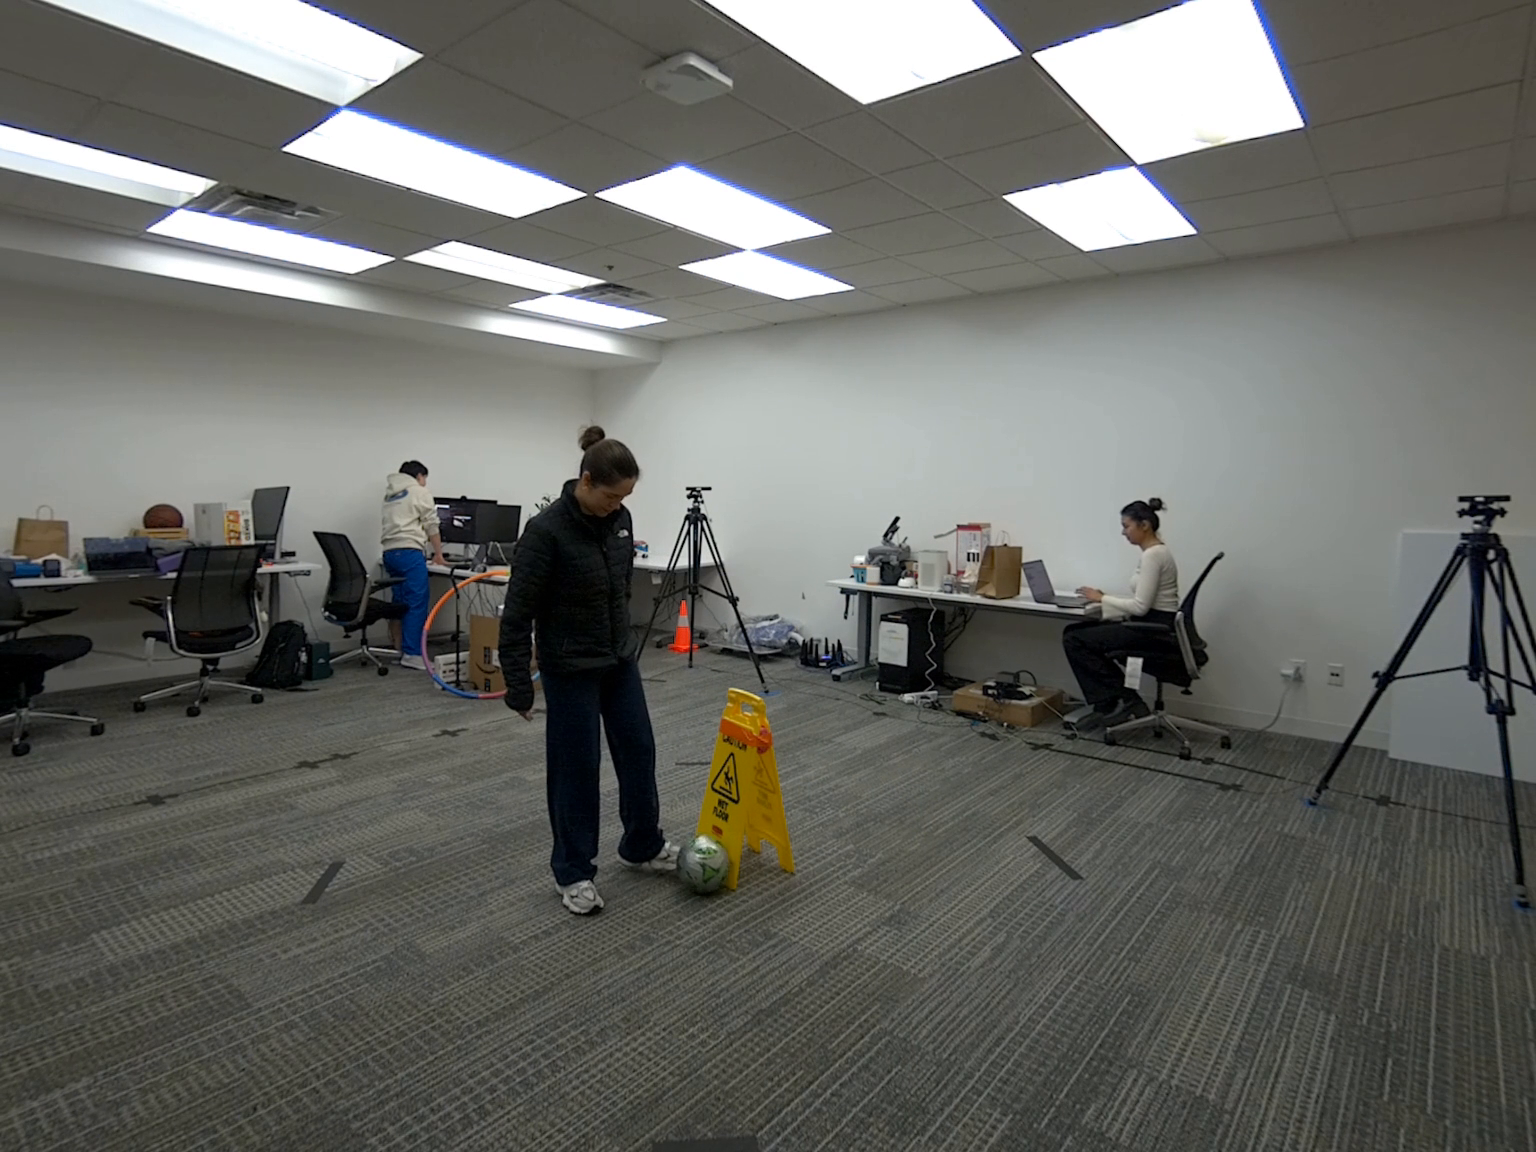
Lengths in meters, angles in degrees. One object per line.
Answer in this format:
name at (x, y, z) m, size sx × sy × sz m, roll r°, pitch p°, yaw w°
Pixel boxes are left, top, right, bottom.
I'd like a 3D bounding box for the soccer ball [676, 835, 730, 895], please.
soccer ball at (-0.246, 0.998, 2.927) m, size 0.187 × 0.187 × 0.188 m, roll 1°, pitch 4°, yaw -2°
